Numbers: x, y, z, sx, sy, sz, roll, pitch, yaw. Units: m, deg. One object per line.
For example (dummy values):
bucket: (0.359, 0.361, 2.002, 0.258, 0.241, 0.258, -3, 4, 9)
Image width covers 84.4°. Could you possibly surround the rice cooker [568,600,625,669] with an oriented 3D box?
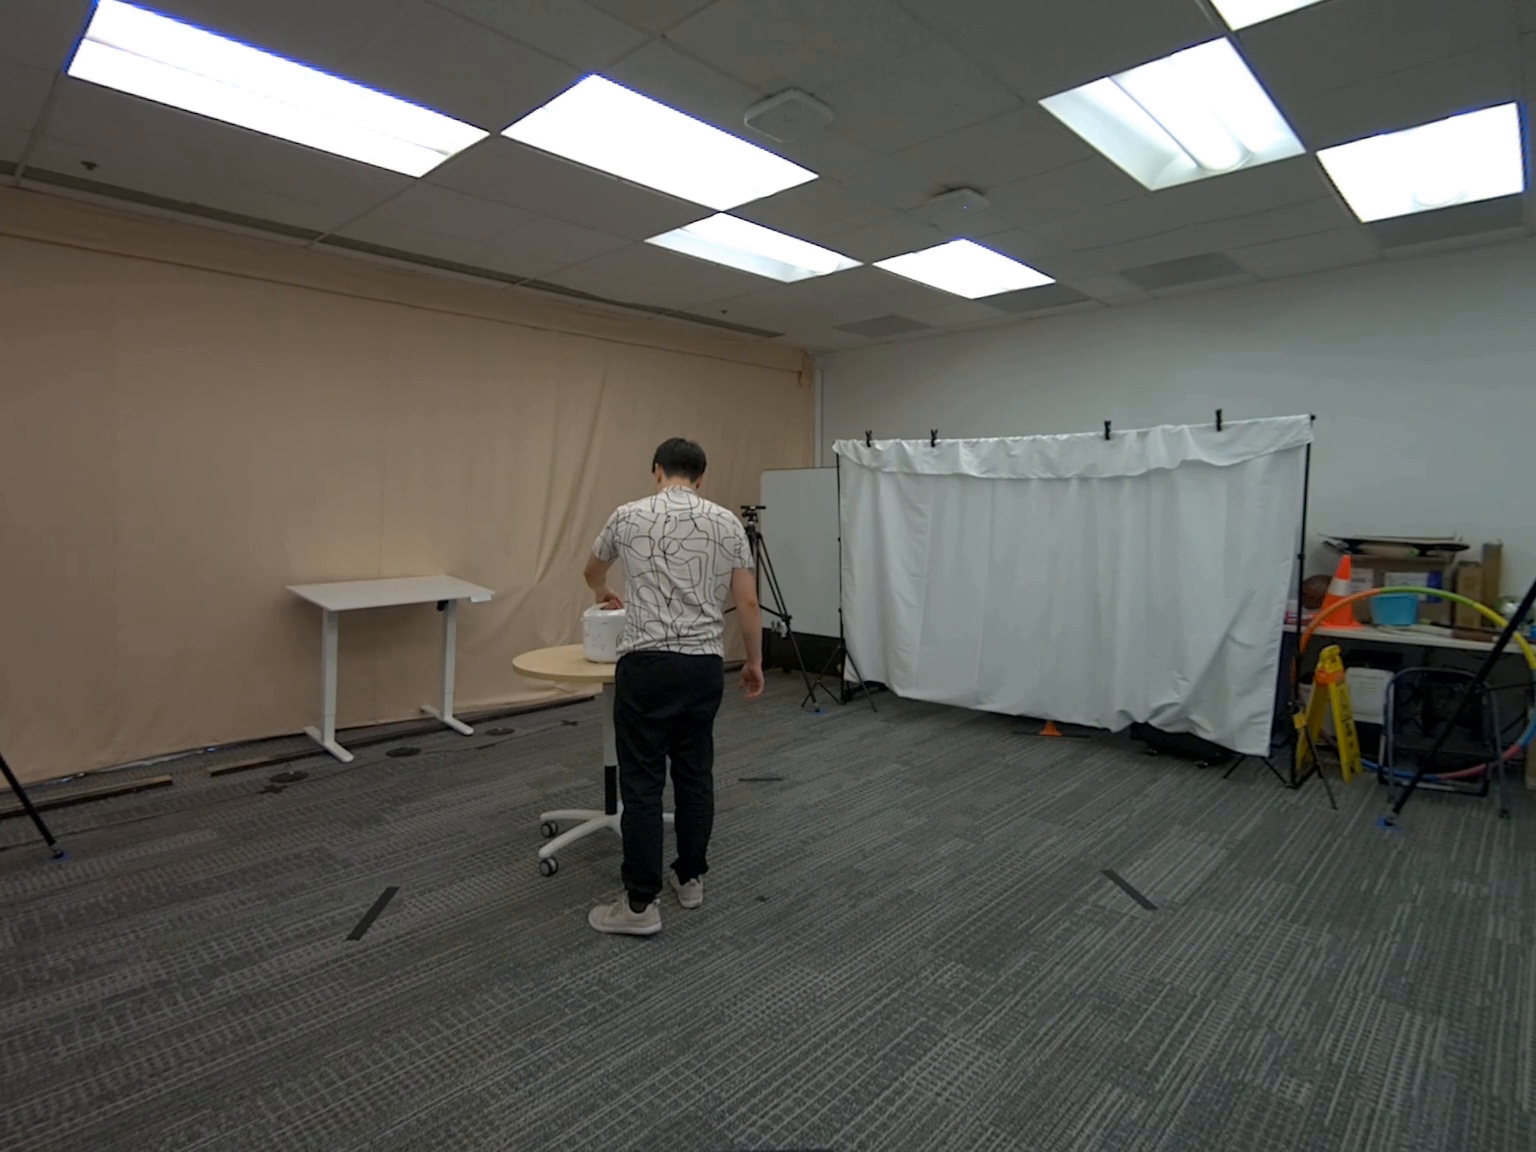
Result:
rice cooker: (-0.635, 0.219, 3.352, 0.214, 0.232, 0.224, -5, 4, -41)
